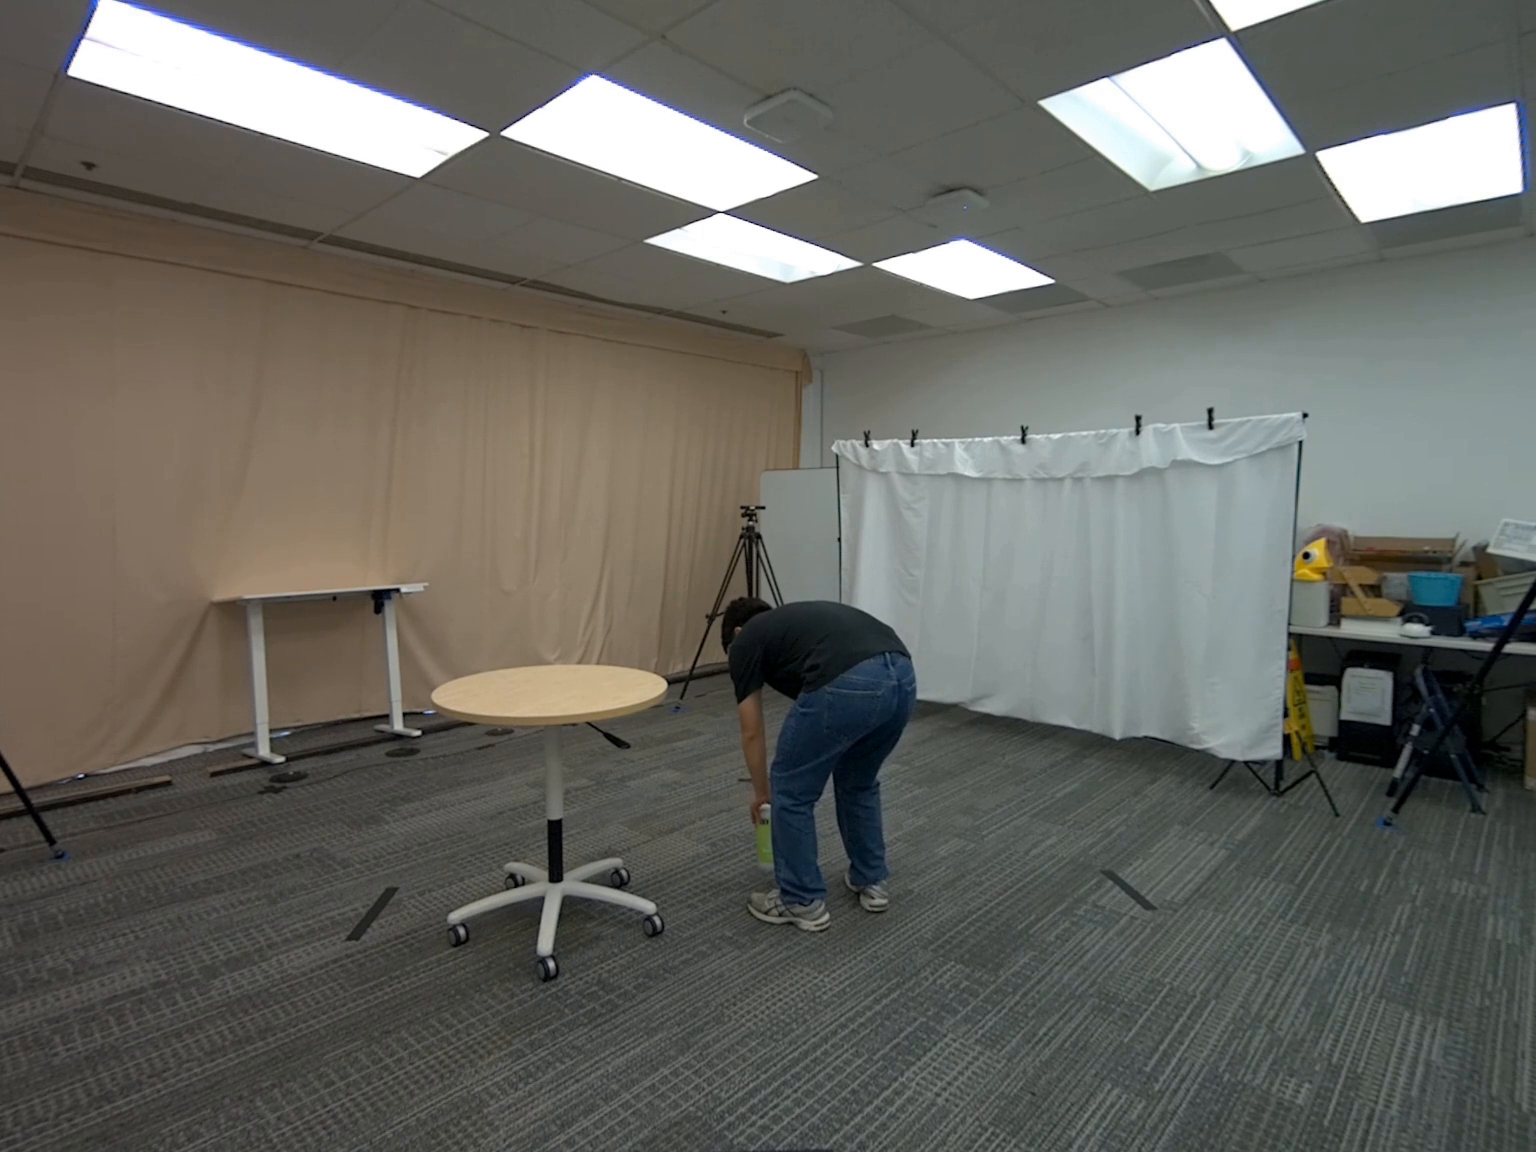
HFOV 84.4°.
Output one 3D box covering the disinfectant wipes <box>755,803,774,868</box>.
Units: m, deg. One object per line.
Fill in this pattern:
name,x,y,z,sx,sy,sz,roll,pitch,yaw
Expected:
disinfectant wipes,0.010,0.968,3.092,0.118,0.218,0.118,-1,-3,-2
